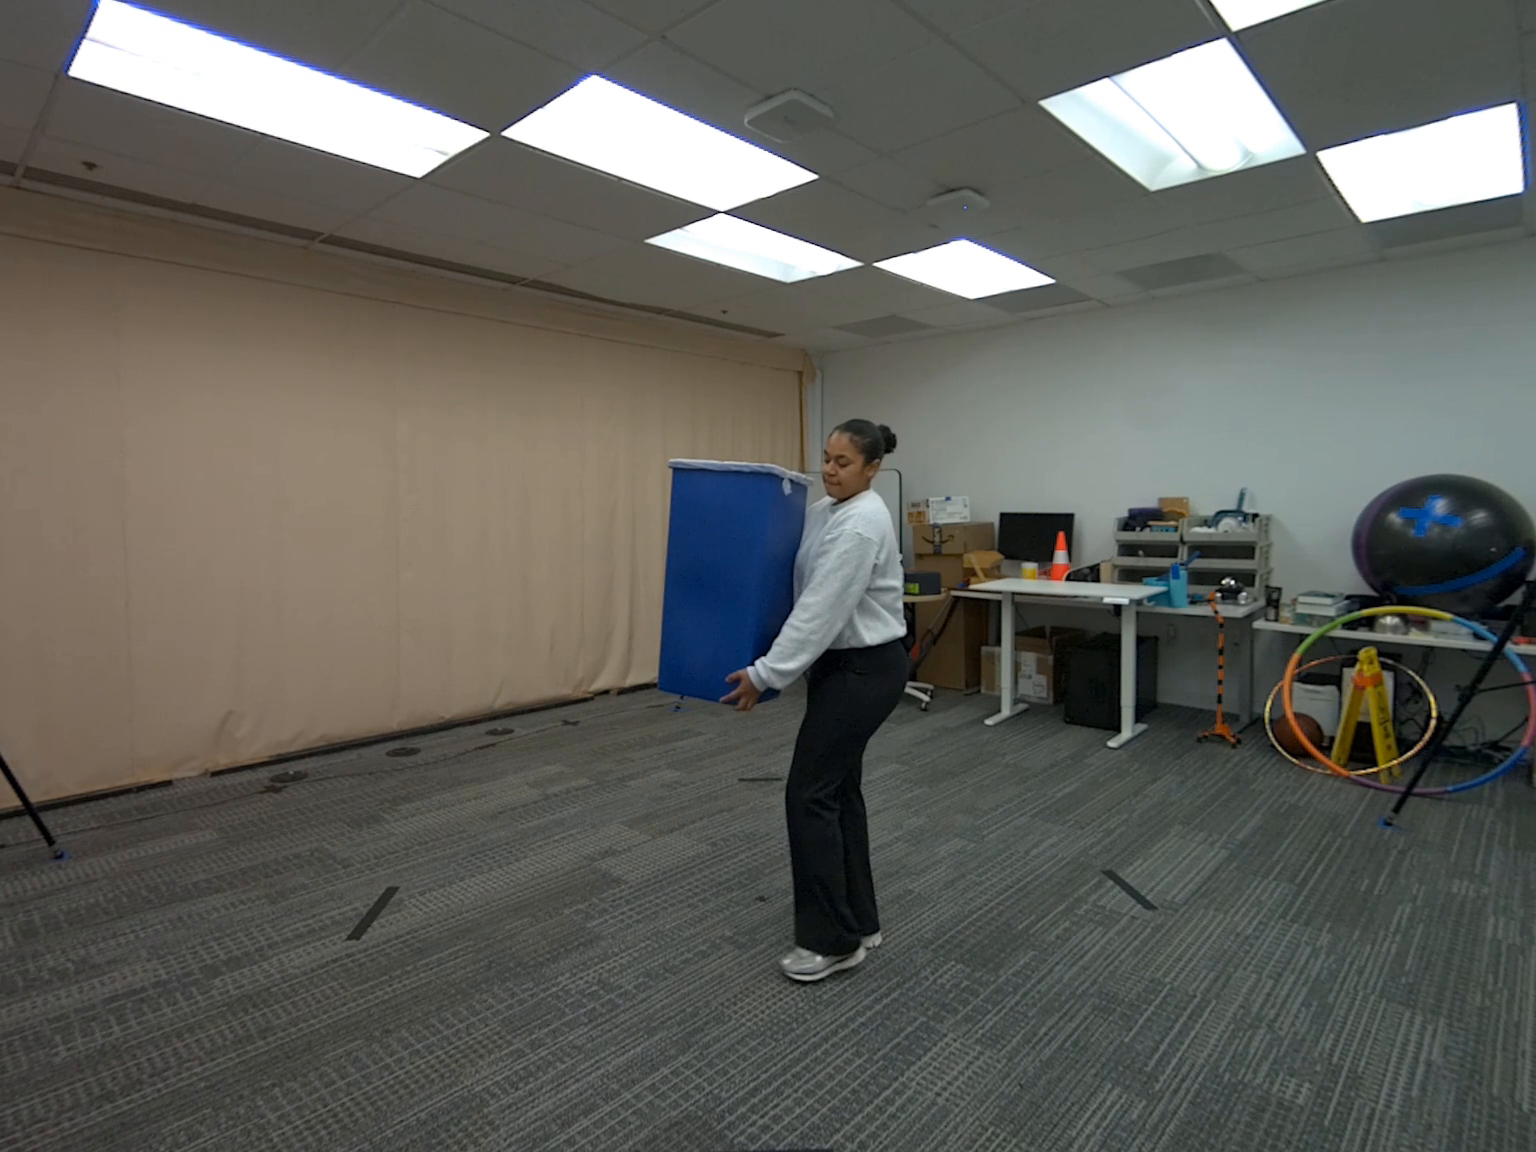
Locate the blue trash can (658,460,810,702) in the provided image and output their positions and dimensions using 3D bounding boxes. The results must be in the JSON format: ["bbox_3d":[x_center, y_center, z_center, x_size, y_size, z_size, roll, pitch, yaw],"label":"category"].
[{"bbox_3d":[-0.114,0.016,2.676,0.388,0.713,0.364,7,1,25],"label":"blue trash can"}]
